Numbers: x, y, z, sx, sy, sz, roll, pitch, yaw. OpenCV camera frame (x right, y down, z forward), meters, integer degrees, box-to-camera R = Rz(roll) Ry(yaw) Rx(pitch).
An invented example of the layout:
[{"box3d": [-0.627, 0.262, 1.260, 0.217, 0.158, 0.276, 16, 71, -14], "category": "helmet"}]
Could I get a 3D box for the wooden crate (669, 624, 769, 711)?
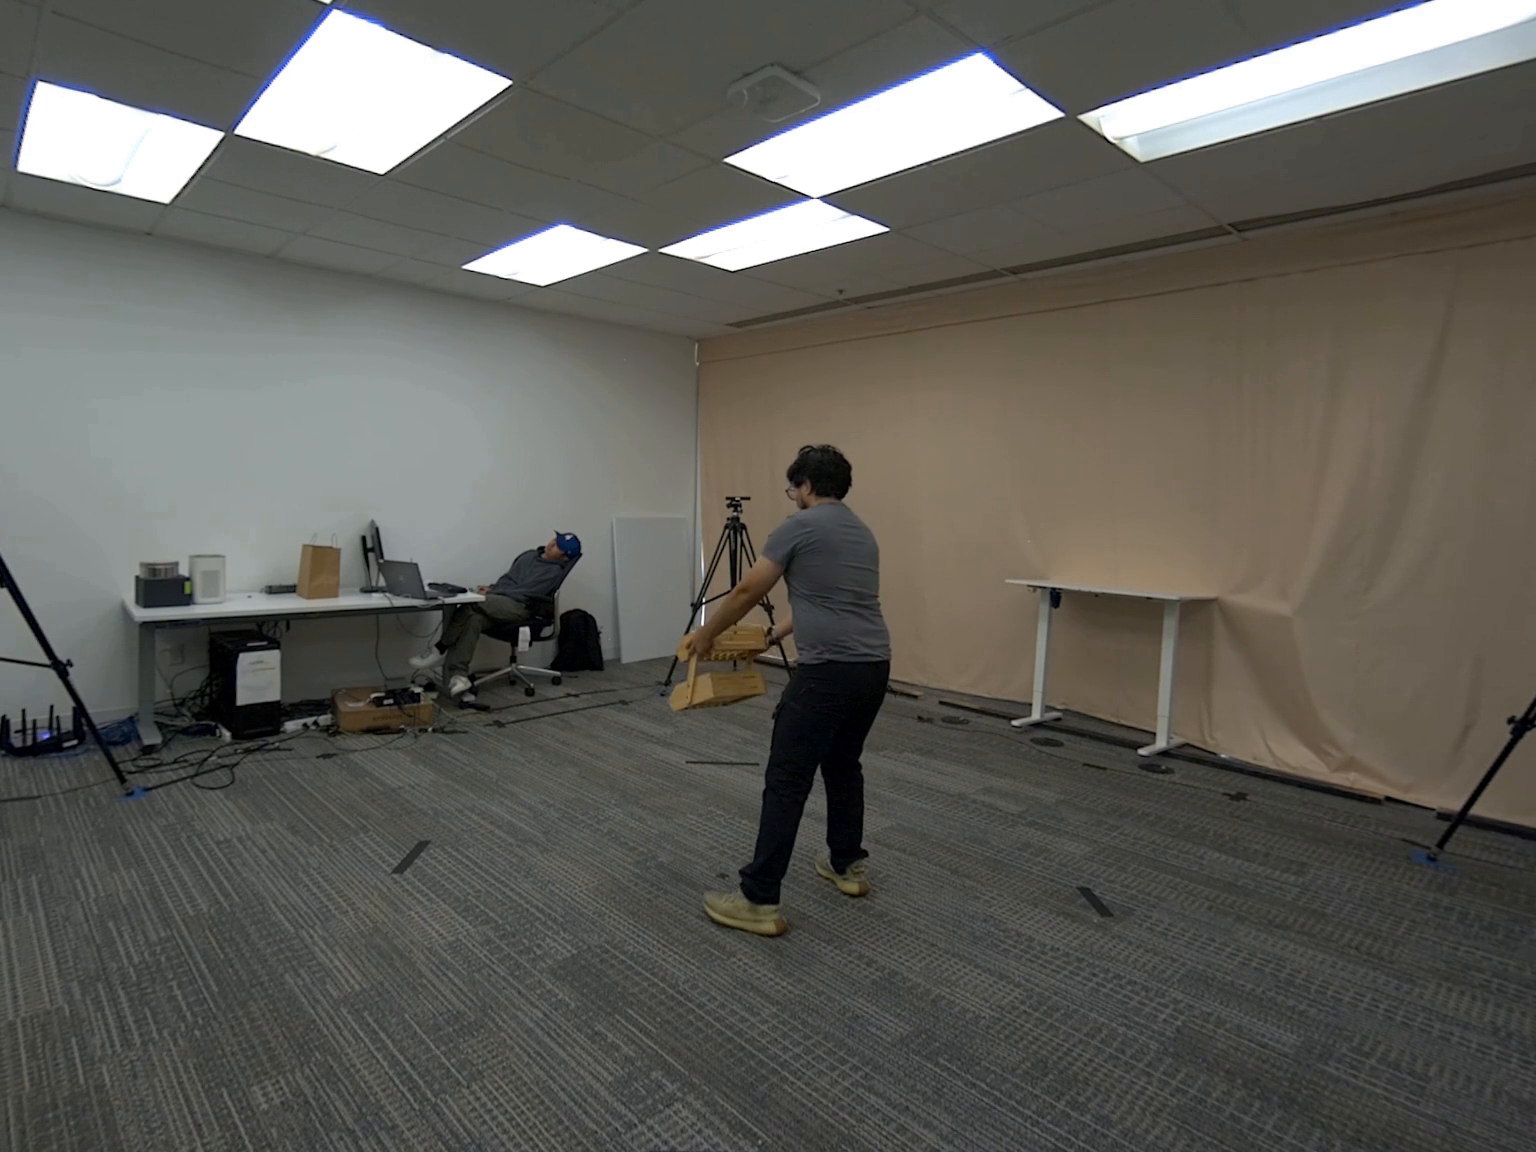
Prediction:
[{"box3d": [-0.210, 0.362, 3.293, 0.306, 0.277, 0.316, -23, -19, 38], "category": "wooden crate"}]
